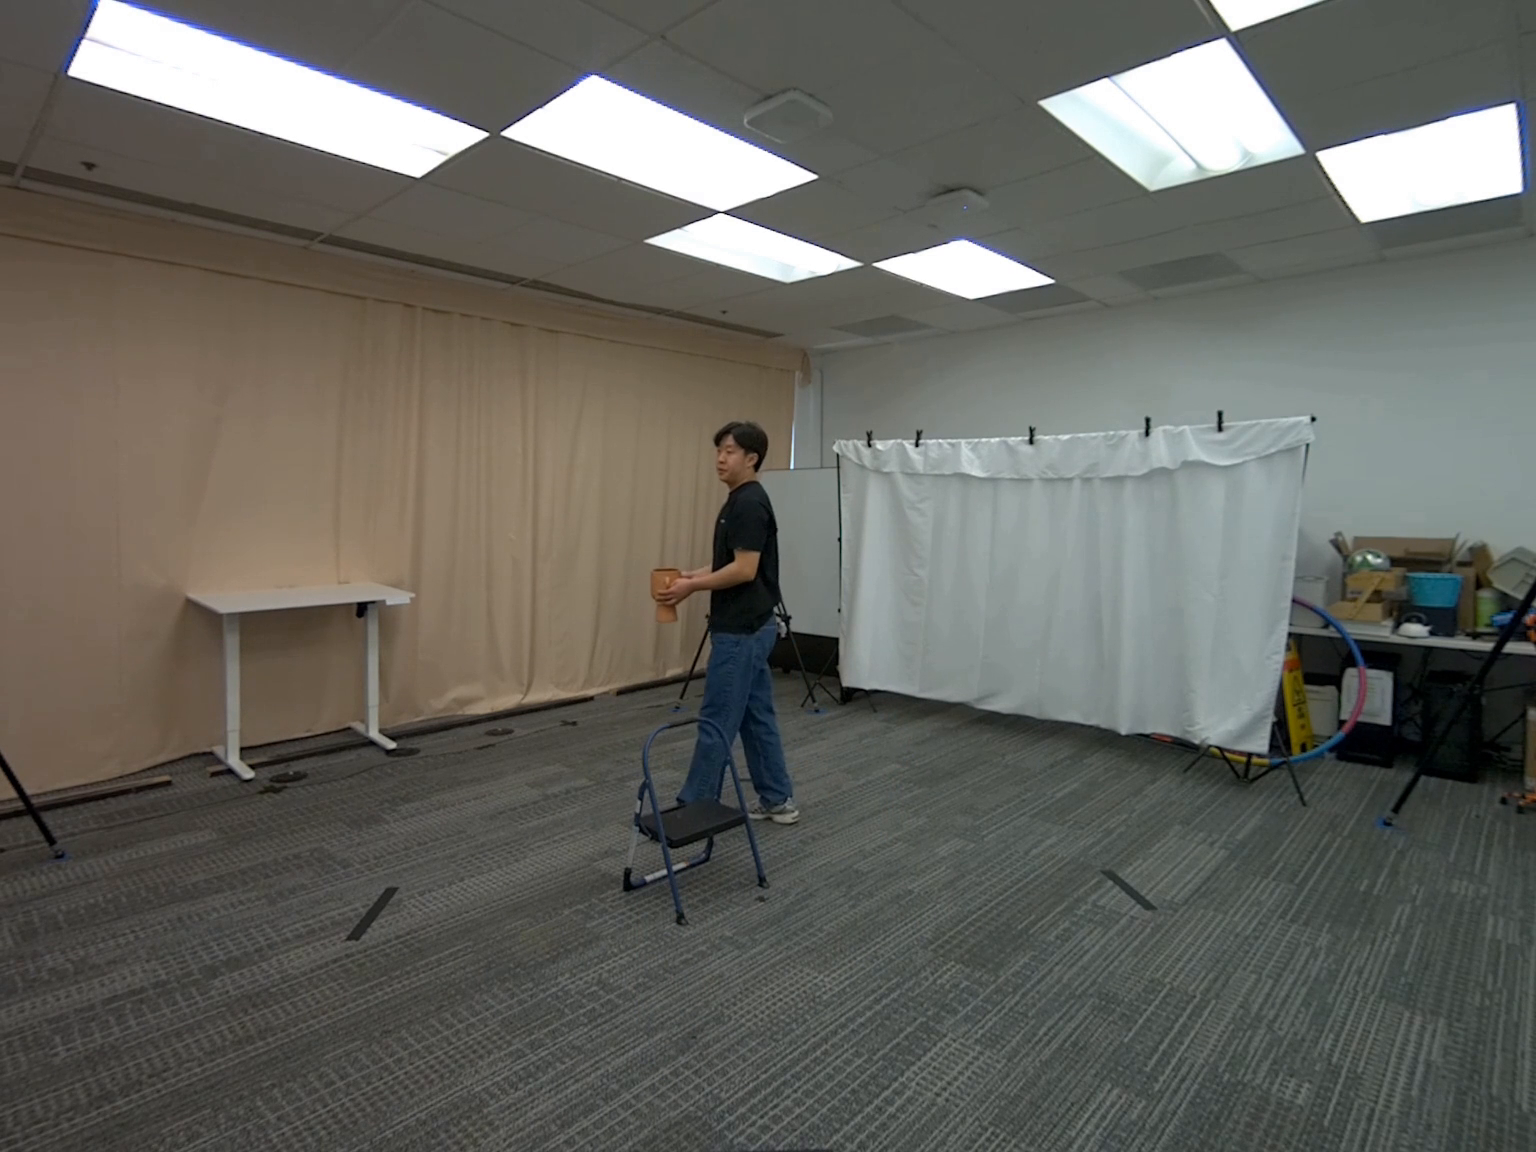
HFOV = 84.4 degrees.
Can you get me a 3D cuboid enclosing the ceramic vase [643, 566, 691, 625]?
[{"bbox_3d":[-0.433,0.079,3.623,0.138,0.219,0.155,2,7,27],"label":"ceramic vase"}]
